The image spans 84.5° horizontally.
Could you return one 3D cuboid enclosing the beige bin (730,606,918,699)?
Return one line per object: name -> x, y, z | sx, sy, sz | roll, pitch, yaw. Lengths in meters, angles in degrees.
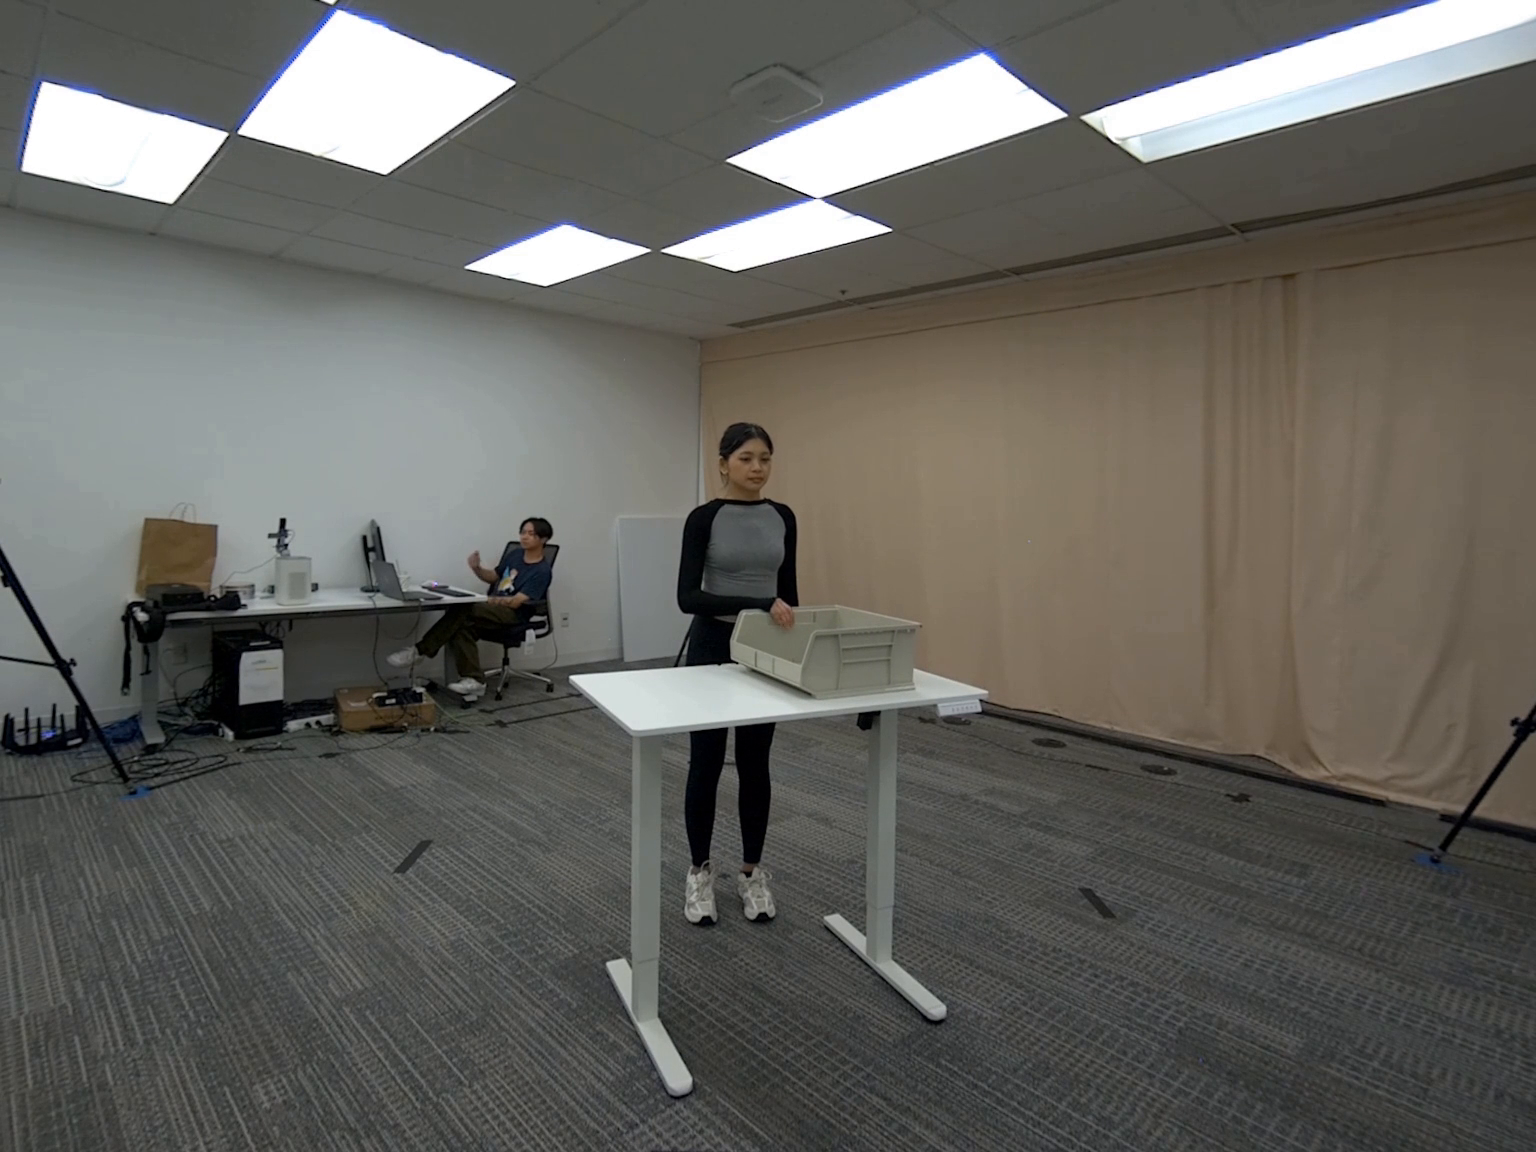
beige bin -> 0.148, 0.211, 2.380 | 0.370, 0.188, 0.431 | 0, 4, -27
